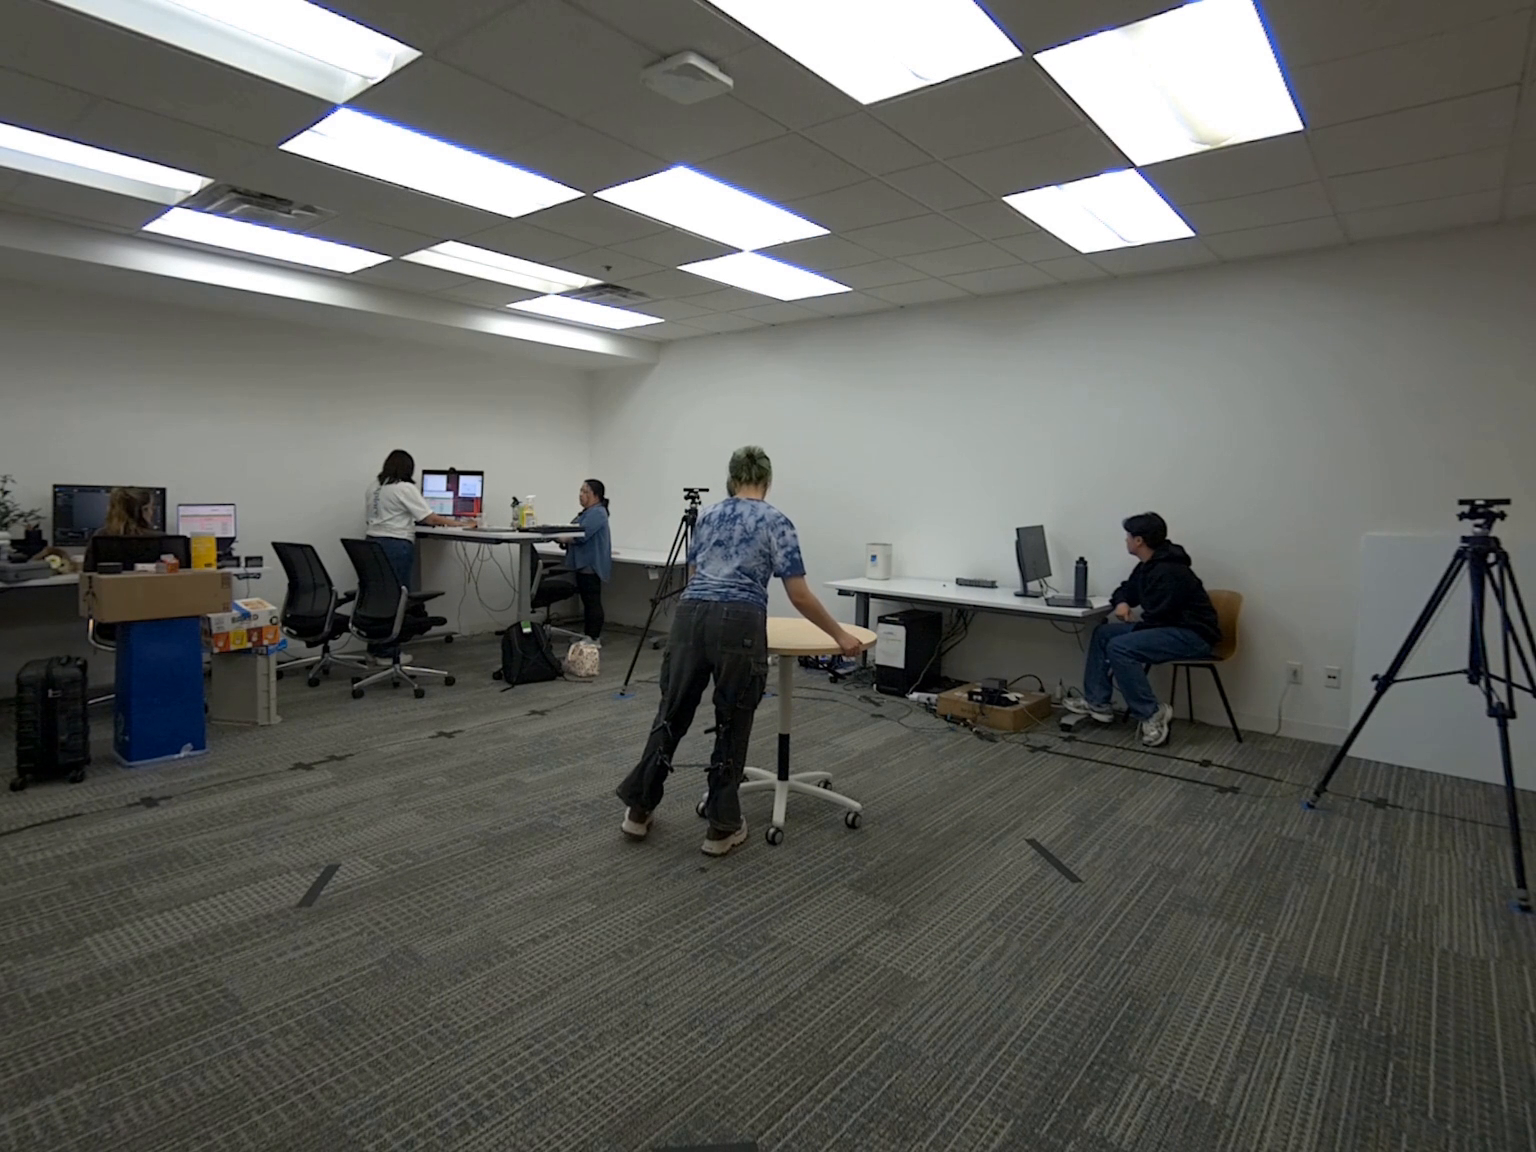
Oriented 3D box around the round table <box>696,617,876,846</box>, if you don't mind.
[{"bbox_3d":[0.060,0.631,3.682,0.763,0.792,0.767,1,4,-2],"label":"round table"}]
